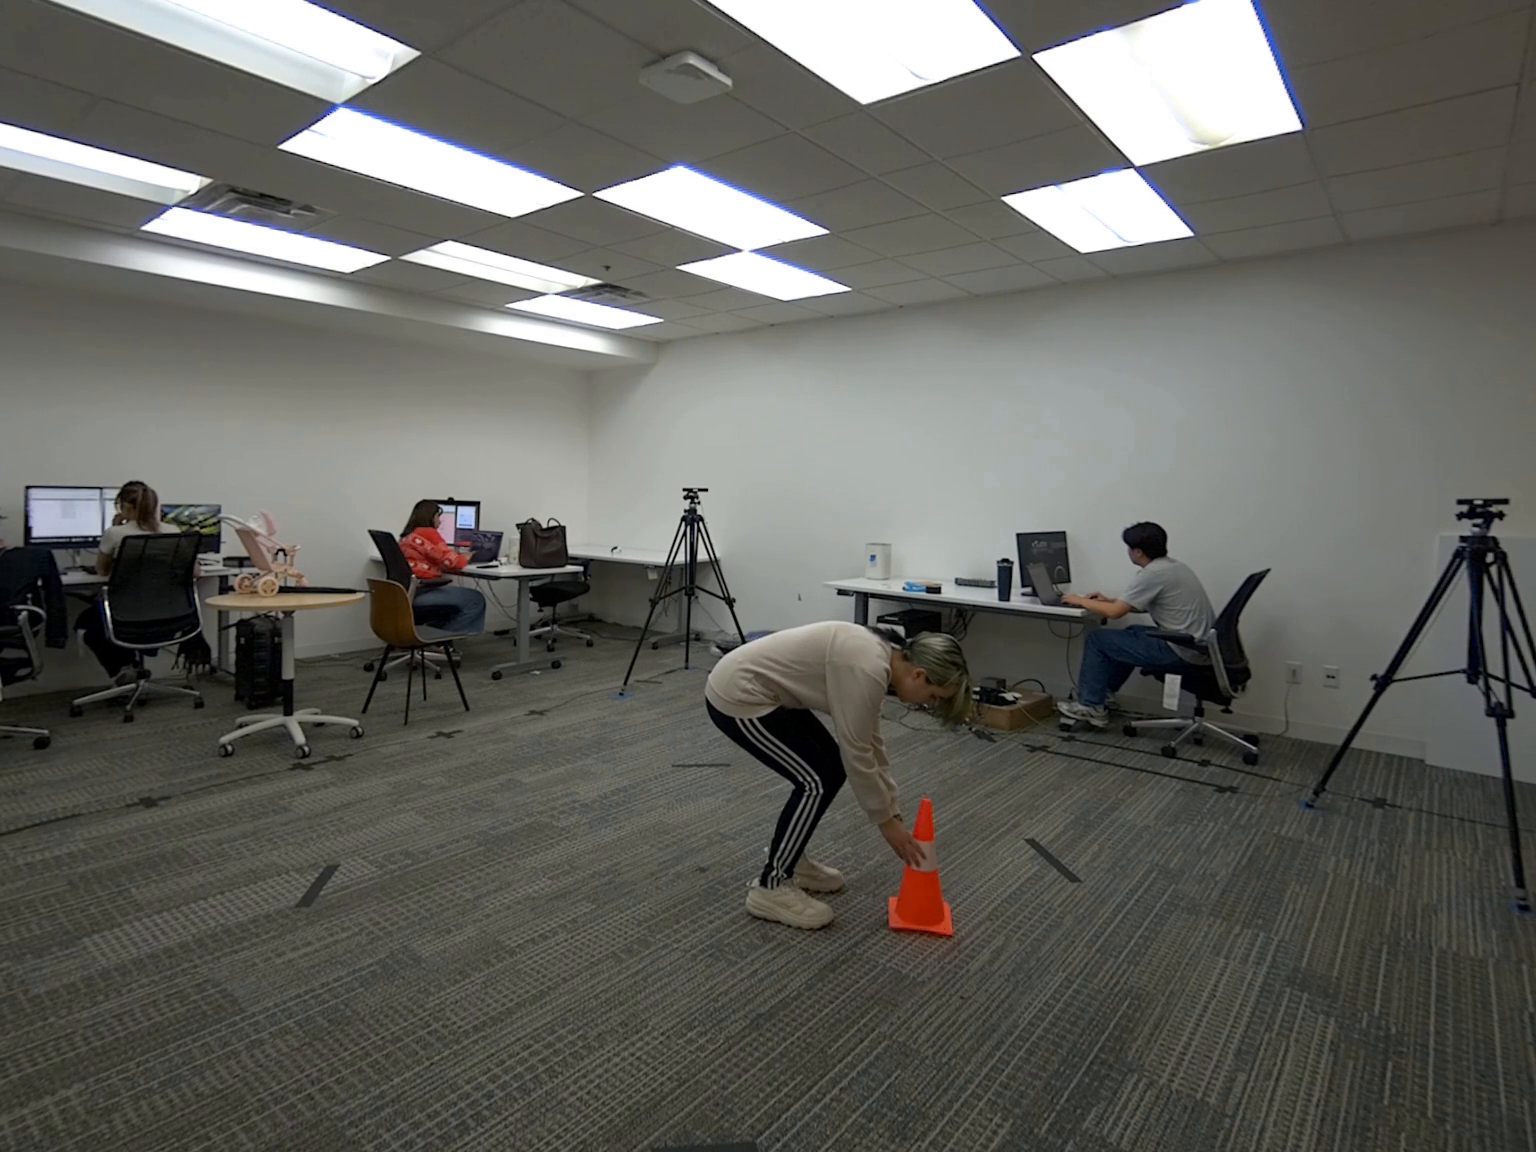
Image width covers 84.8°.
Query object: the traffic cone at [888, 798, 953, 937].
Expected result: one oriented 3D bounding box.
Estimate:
[{"bbox_3d":[0.489,0.914,2.767,0.207,0.383,0.202,2,3,8],"label":"traffic cone"}]
